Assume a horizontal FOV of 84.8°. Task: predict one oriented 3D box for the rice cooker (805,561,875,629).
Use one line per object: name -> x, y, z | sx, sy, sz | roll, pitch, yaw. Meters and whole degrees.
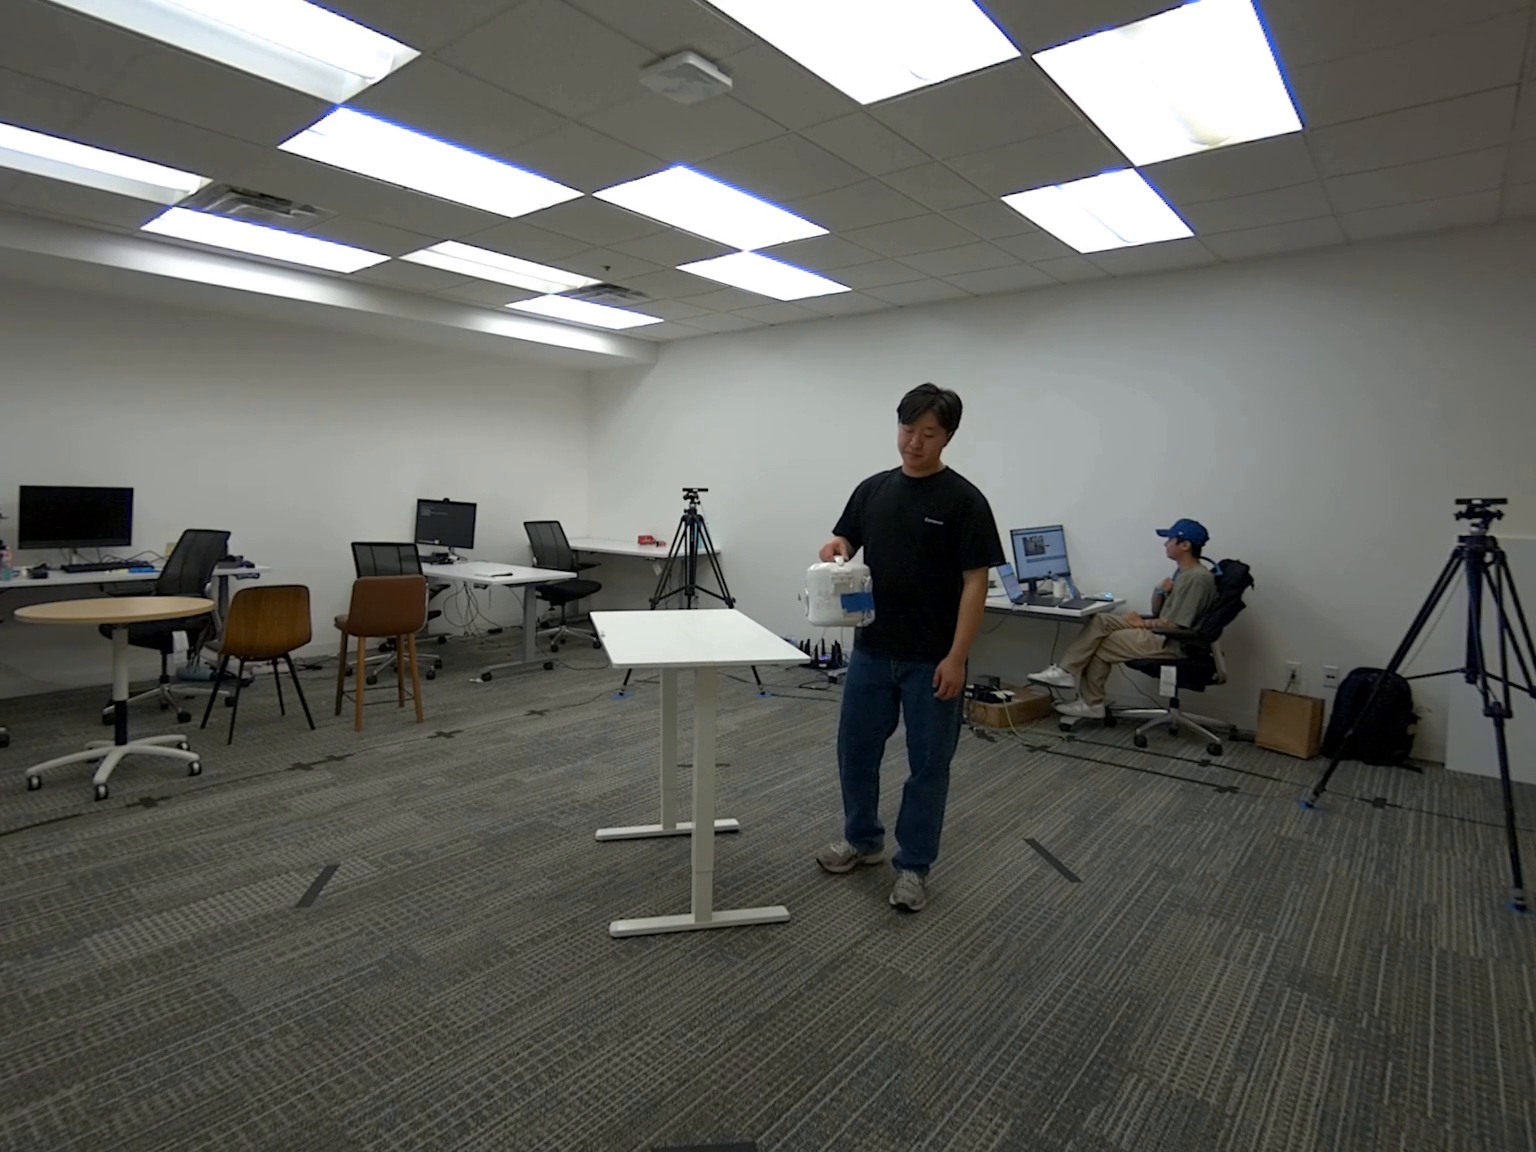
rice cooker -> 0.222, 0.048, 2.809 | 0.218, 0.233, 0.219 | -1, -2, 2
